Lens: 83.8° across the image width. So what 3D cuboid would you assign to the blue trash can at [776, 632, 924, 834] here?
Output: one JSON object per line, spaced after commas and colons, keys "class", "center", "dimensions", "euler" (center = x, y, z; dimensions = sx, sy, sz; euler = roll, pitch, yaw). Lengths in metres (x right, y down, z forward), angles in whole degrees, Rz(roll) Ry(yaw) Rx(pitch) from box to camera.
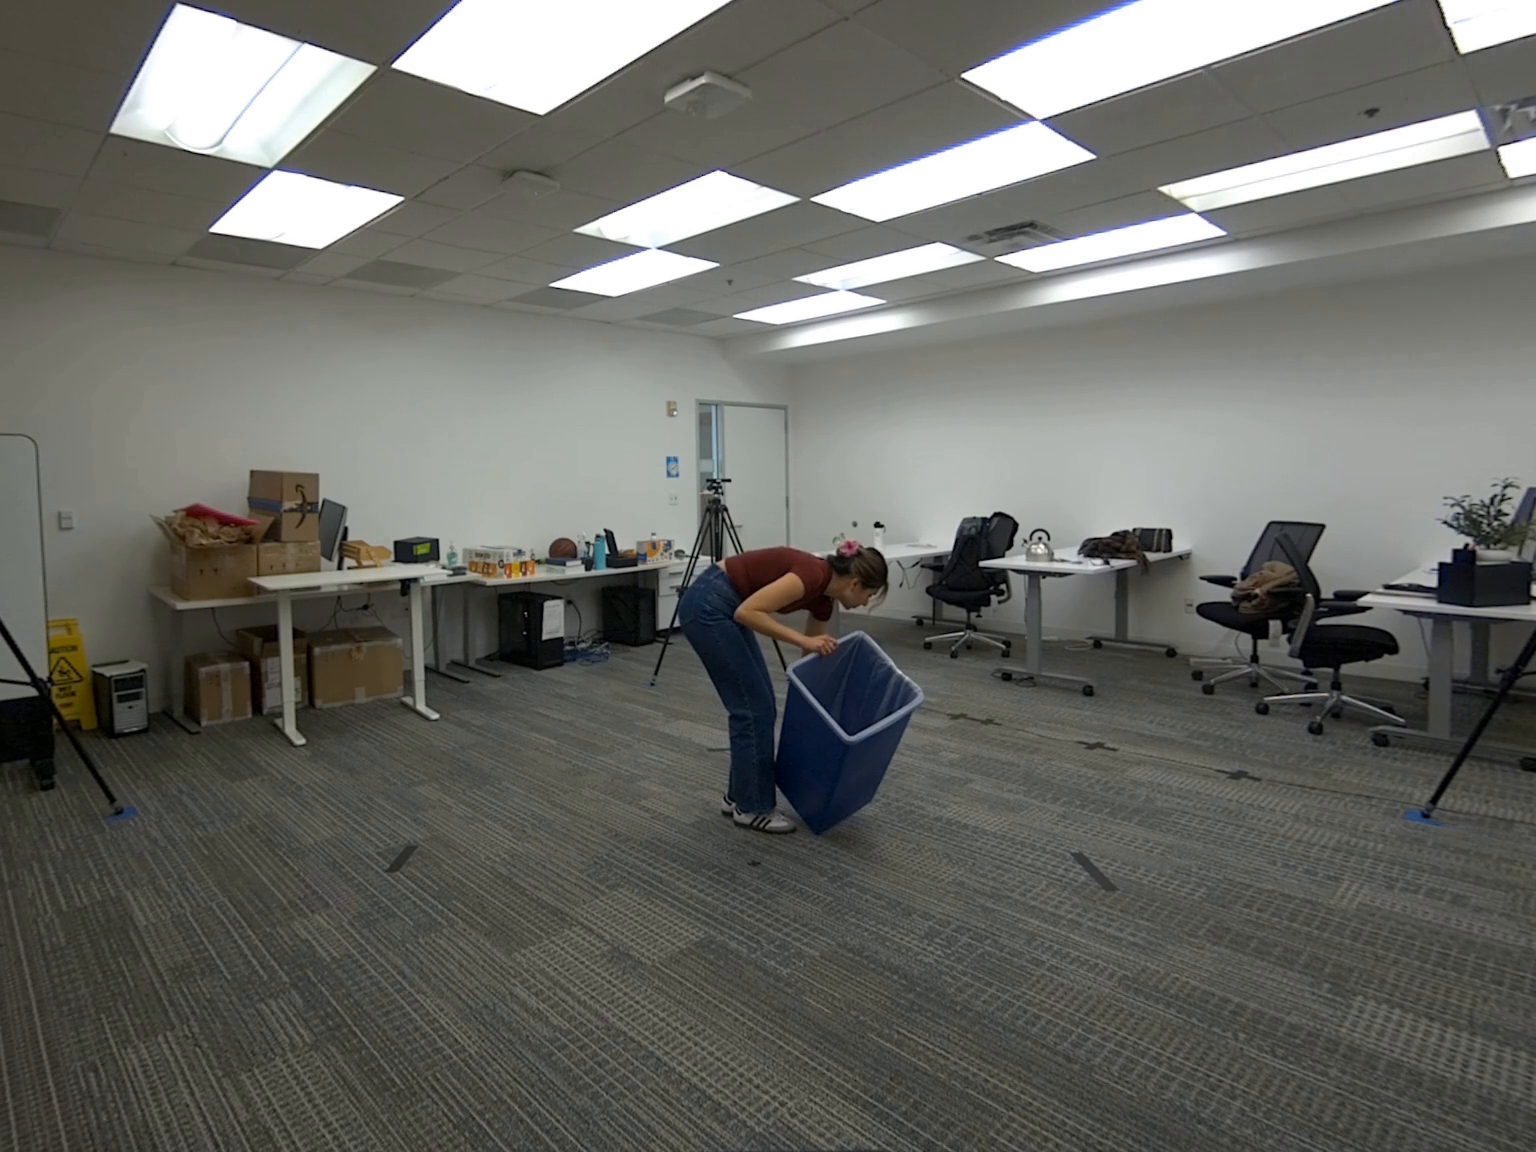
{"class": "blue trash can", "center": [0.262, 0.622, 3.253], "dimensions": [0.369, 0.697, 0.392], "euler": [-22, 51, -29]}
